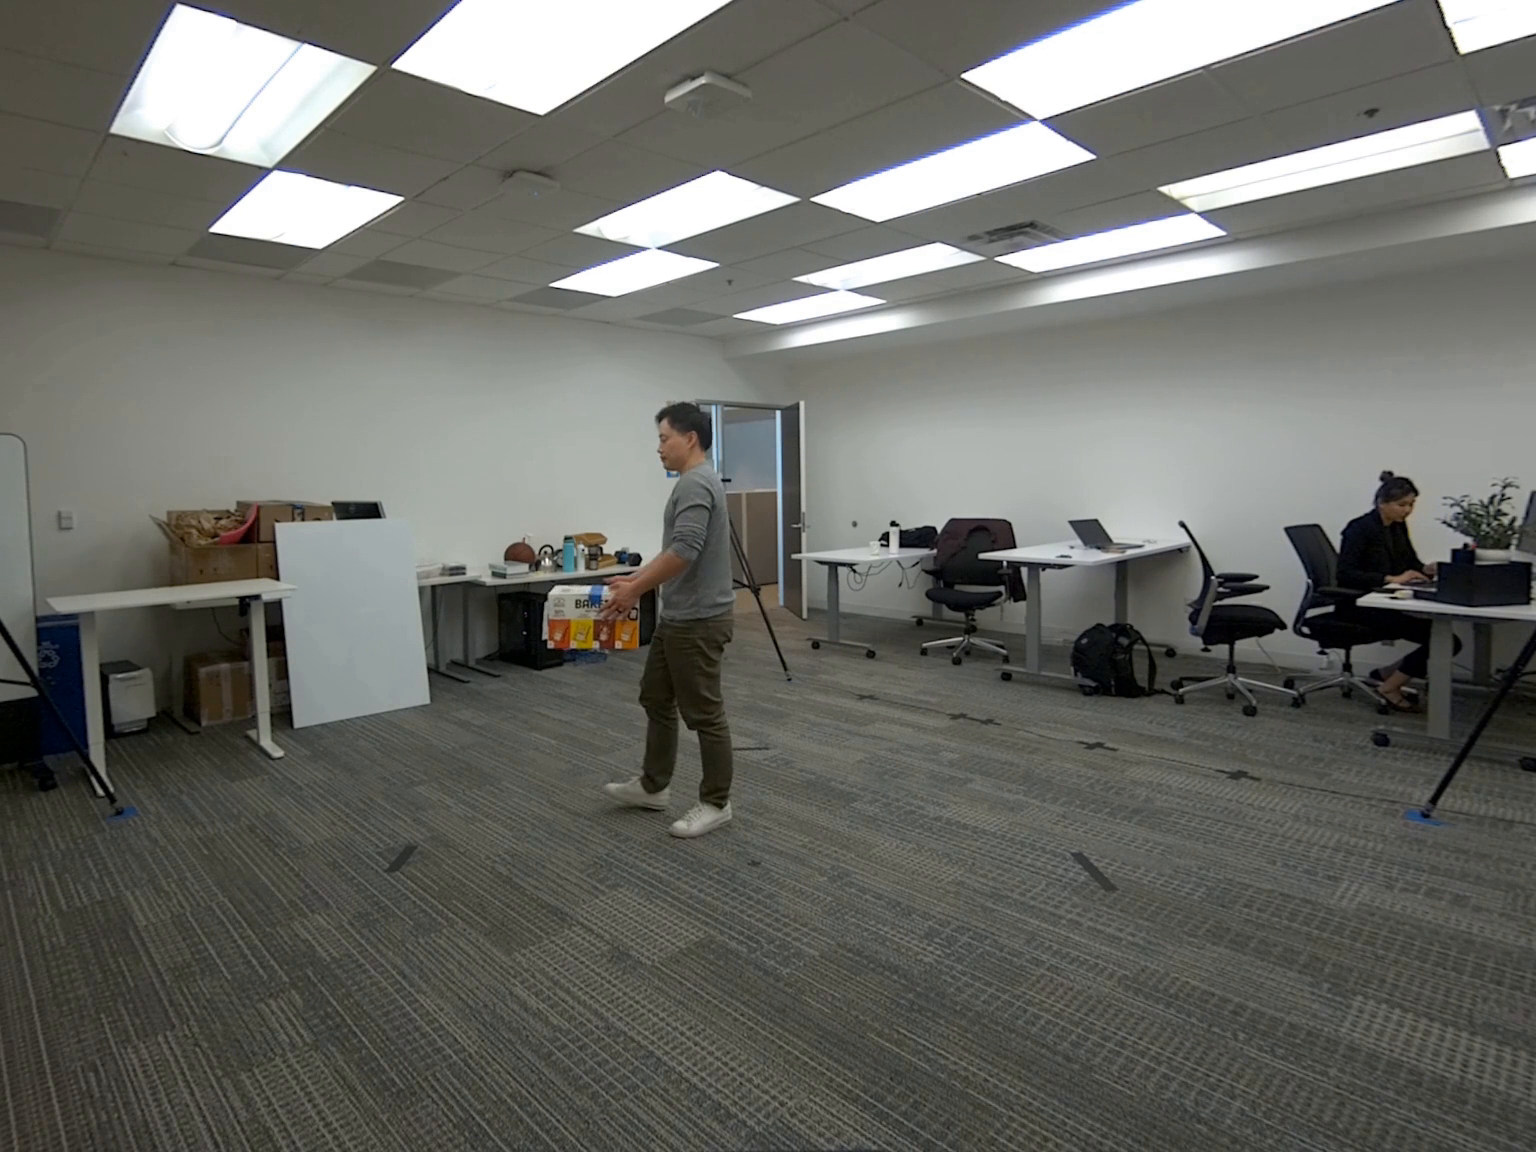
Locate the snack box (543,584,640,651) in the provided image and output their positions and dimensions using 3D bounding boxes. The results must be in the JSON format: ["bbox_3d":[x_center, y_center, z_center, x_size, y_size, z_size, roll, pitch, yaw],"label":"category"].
[{"bbox_3d":[-0.688,0.158,3.387,0.338,0.205,0.409,1,3,-8],"label":"snack box"}]
